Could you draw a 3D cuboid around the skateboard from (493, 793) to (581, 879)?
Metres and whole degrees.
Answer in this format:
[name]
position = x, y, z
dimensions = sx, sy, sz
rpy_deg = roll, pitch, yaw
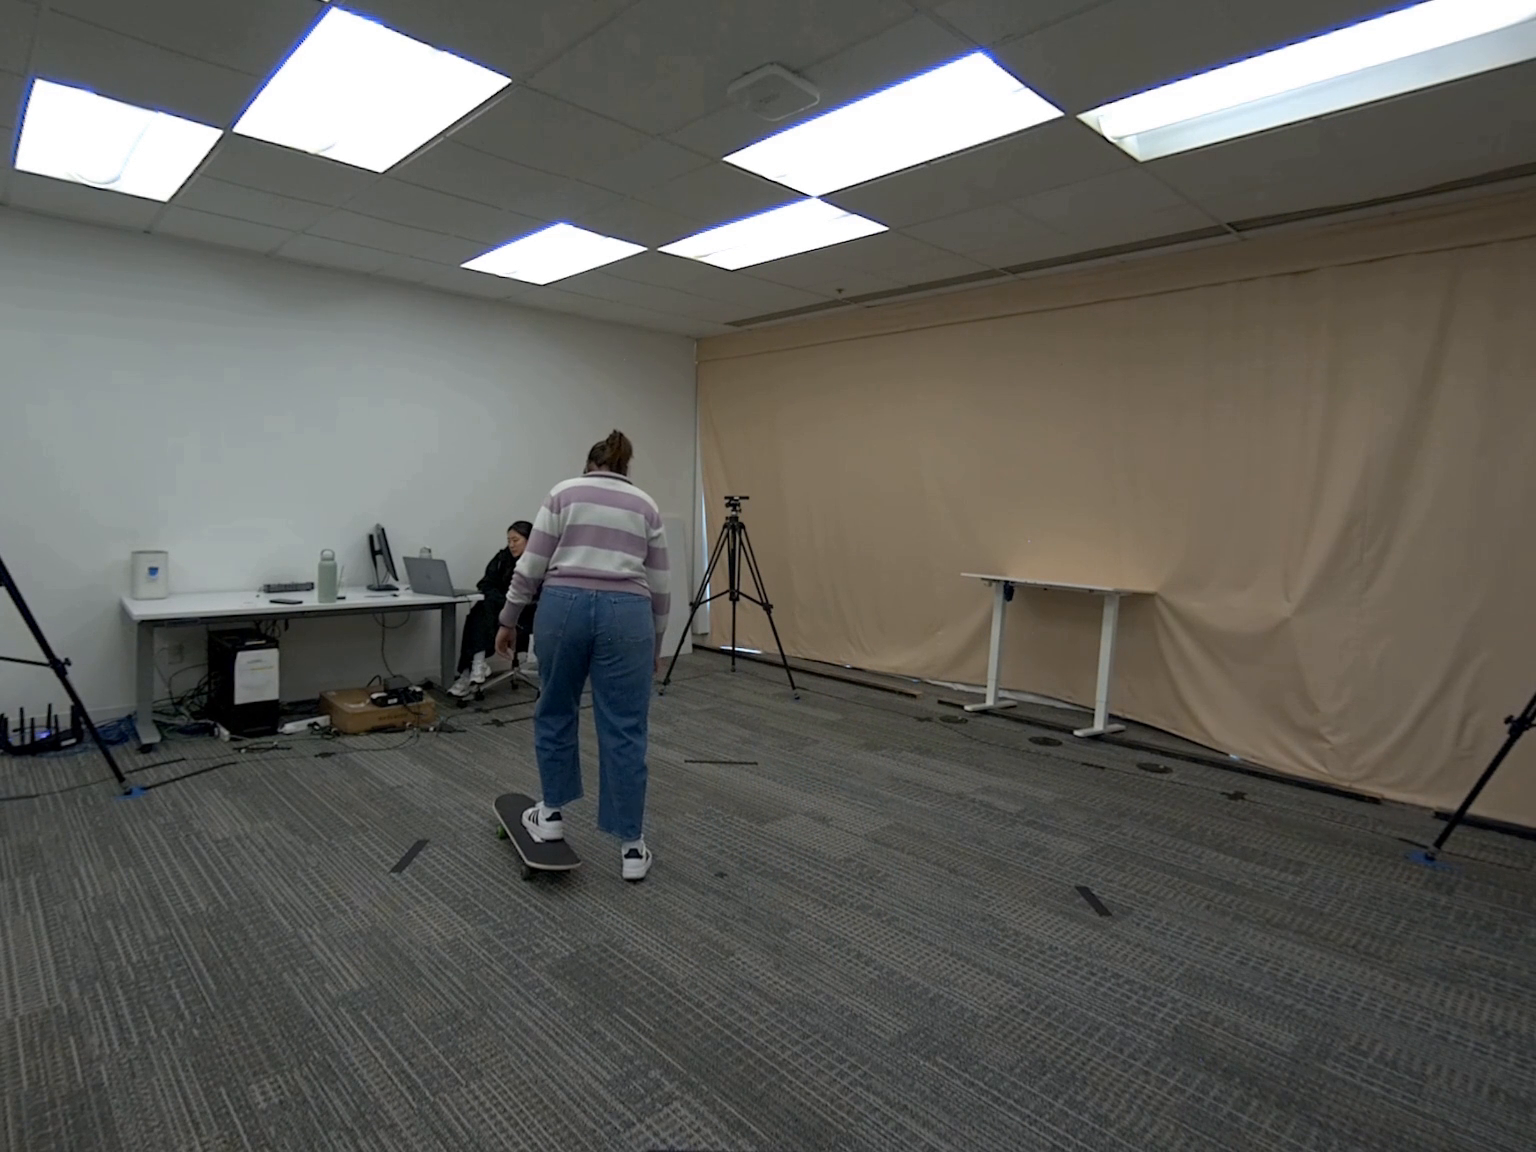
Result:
[skateboard]
position = -0.913, 1.019, 3.252
dimensions = 0.189, 0.110, 0.803
rpy_deg = 5, 3, -29
